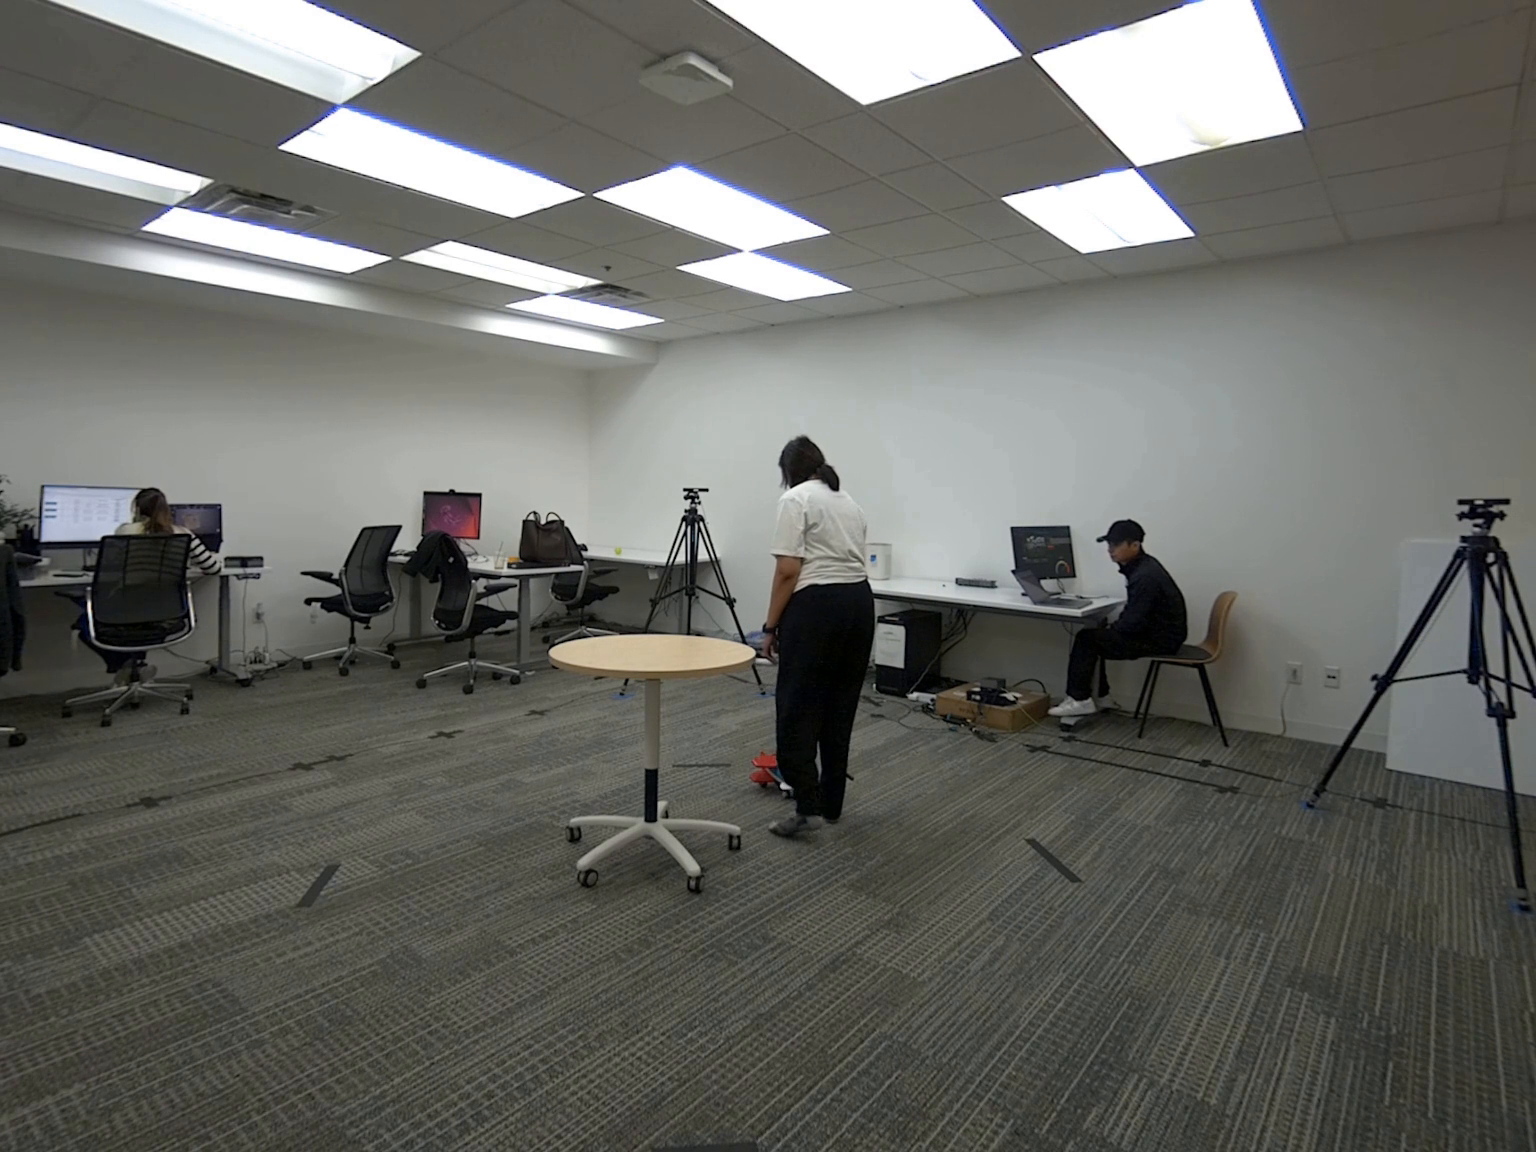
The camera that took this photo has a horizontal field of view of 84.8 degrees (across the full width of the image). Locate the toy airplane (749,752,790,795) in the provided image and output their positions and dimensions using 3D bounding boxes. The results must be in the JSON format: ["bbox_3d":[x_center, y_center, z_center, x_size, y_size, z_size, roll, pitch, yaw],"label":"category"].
[{"bbox_3d":[0.059,0.919,3.961,0.267,0.156,0.244,4,5,34],"label":"toy airplane"}]
